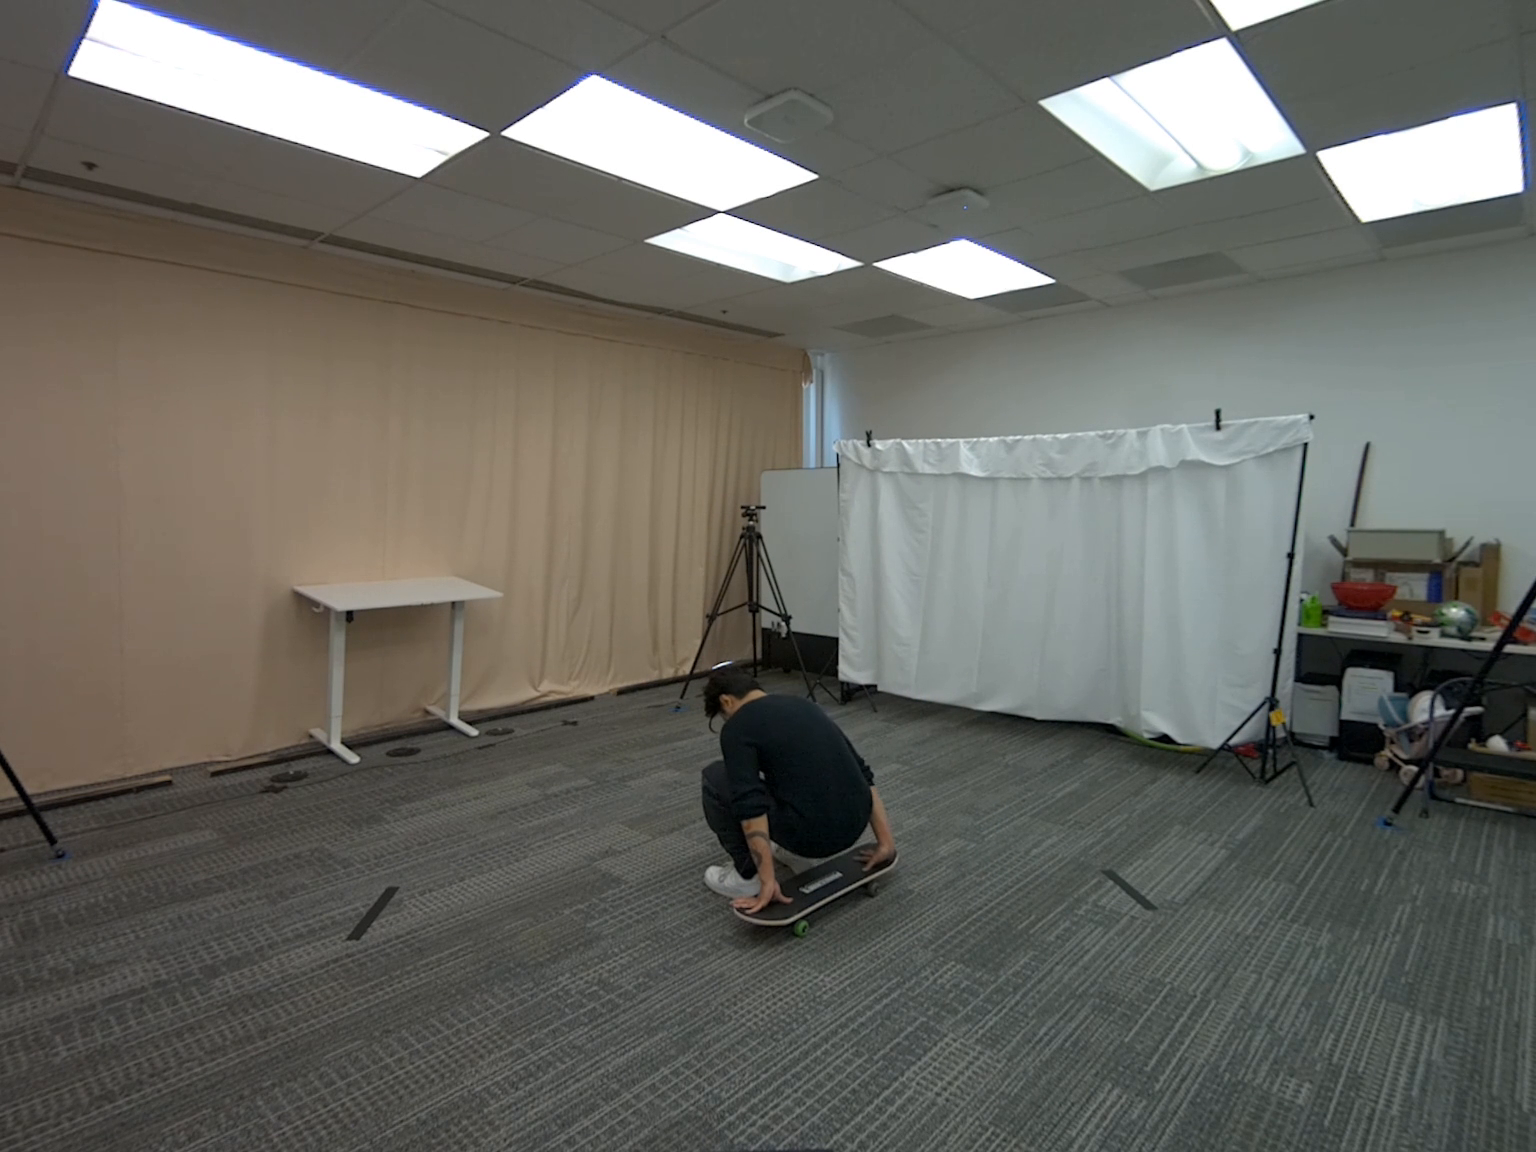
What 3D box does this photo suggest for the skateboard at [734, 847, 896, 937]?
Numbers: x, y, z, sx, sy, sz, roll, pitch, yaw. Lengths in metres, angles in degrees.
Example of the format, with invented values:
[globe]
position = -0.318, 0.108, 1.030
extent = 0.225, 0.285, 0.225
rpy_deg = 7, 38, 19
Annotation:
[skateboard]
position = 0.189, 1.092, 2.911
extent = 0.200, 0.110, 0.761
rpy_deg = 3, 5, 45
